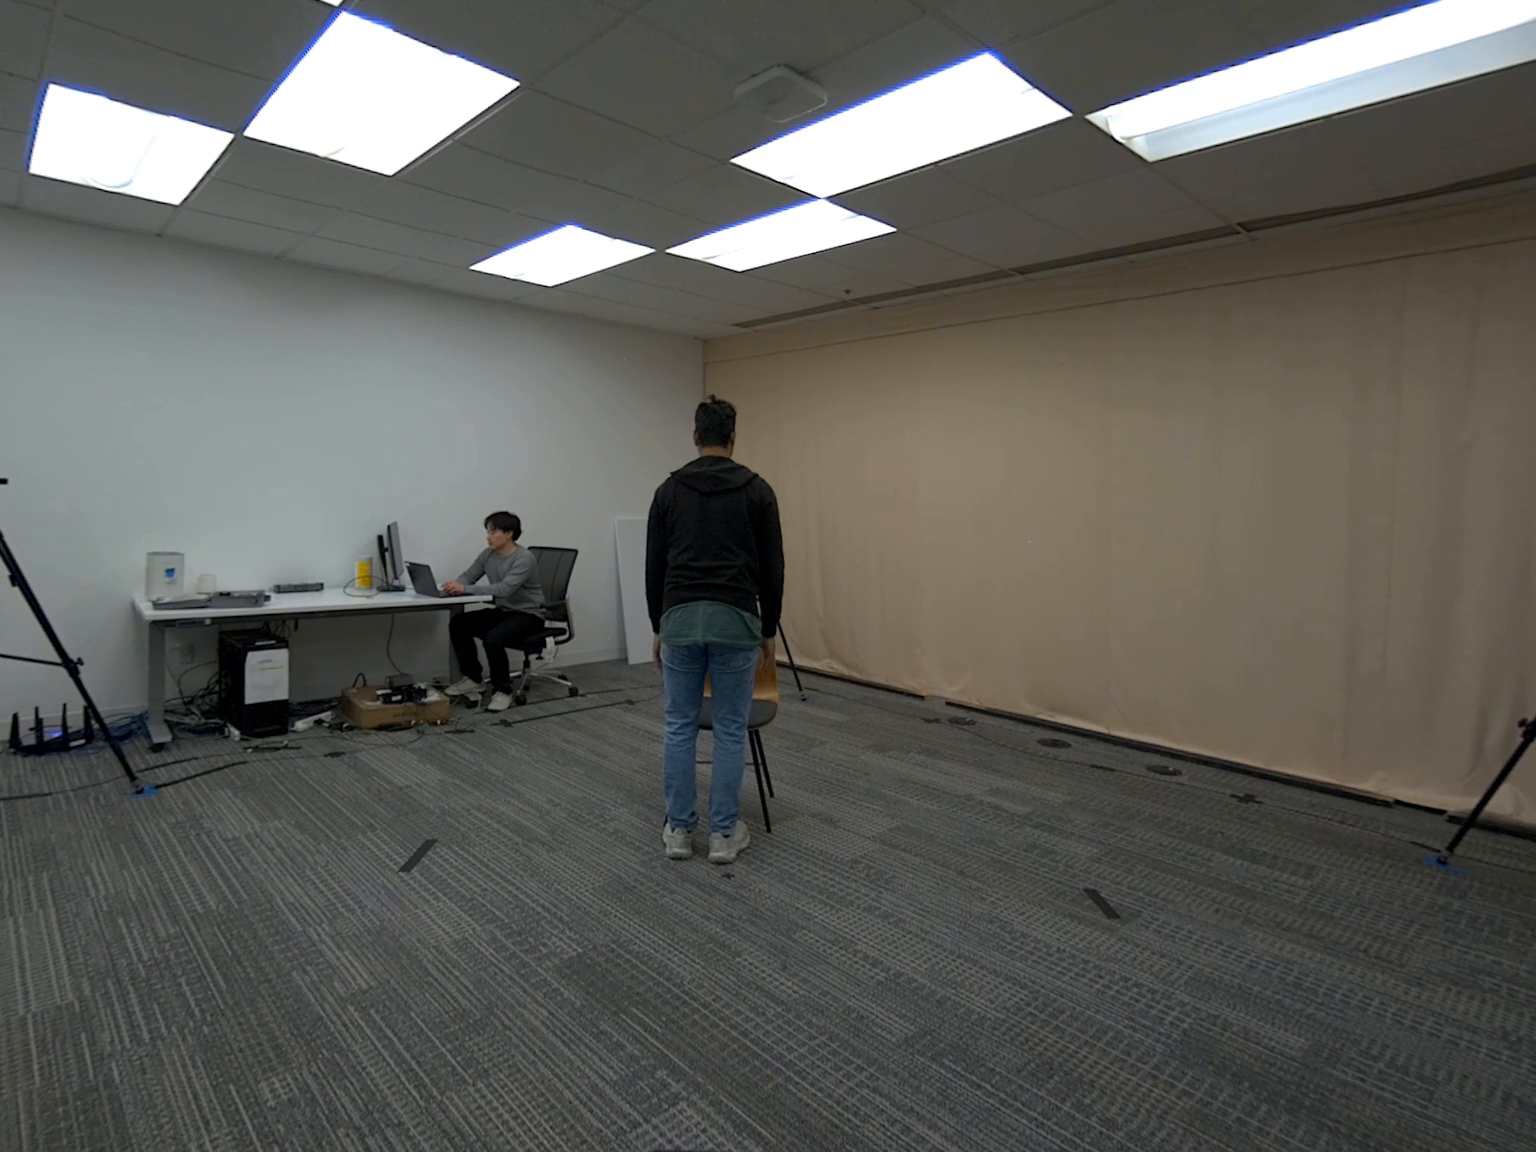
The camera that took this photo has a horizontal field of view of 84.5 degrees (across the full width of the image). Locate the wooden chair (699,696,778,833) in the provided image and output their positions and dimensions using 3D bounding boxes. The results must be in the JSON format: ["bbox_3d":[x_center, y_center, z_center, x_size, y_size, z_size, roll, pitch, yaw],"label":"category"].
[{"bbox_3d":[-0.193,0.626,3.722,0.479,0.878,0.521,3,-1,3],"label":"wooden chair"}]
